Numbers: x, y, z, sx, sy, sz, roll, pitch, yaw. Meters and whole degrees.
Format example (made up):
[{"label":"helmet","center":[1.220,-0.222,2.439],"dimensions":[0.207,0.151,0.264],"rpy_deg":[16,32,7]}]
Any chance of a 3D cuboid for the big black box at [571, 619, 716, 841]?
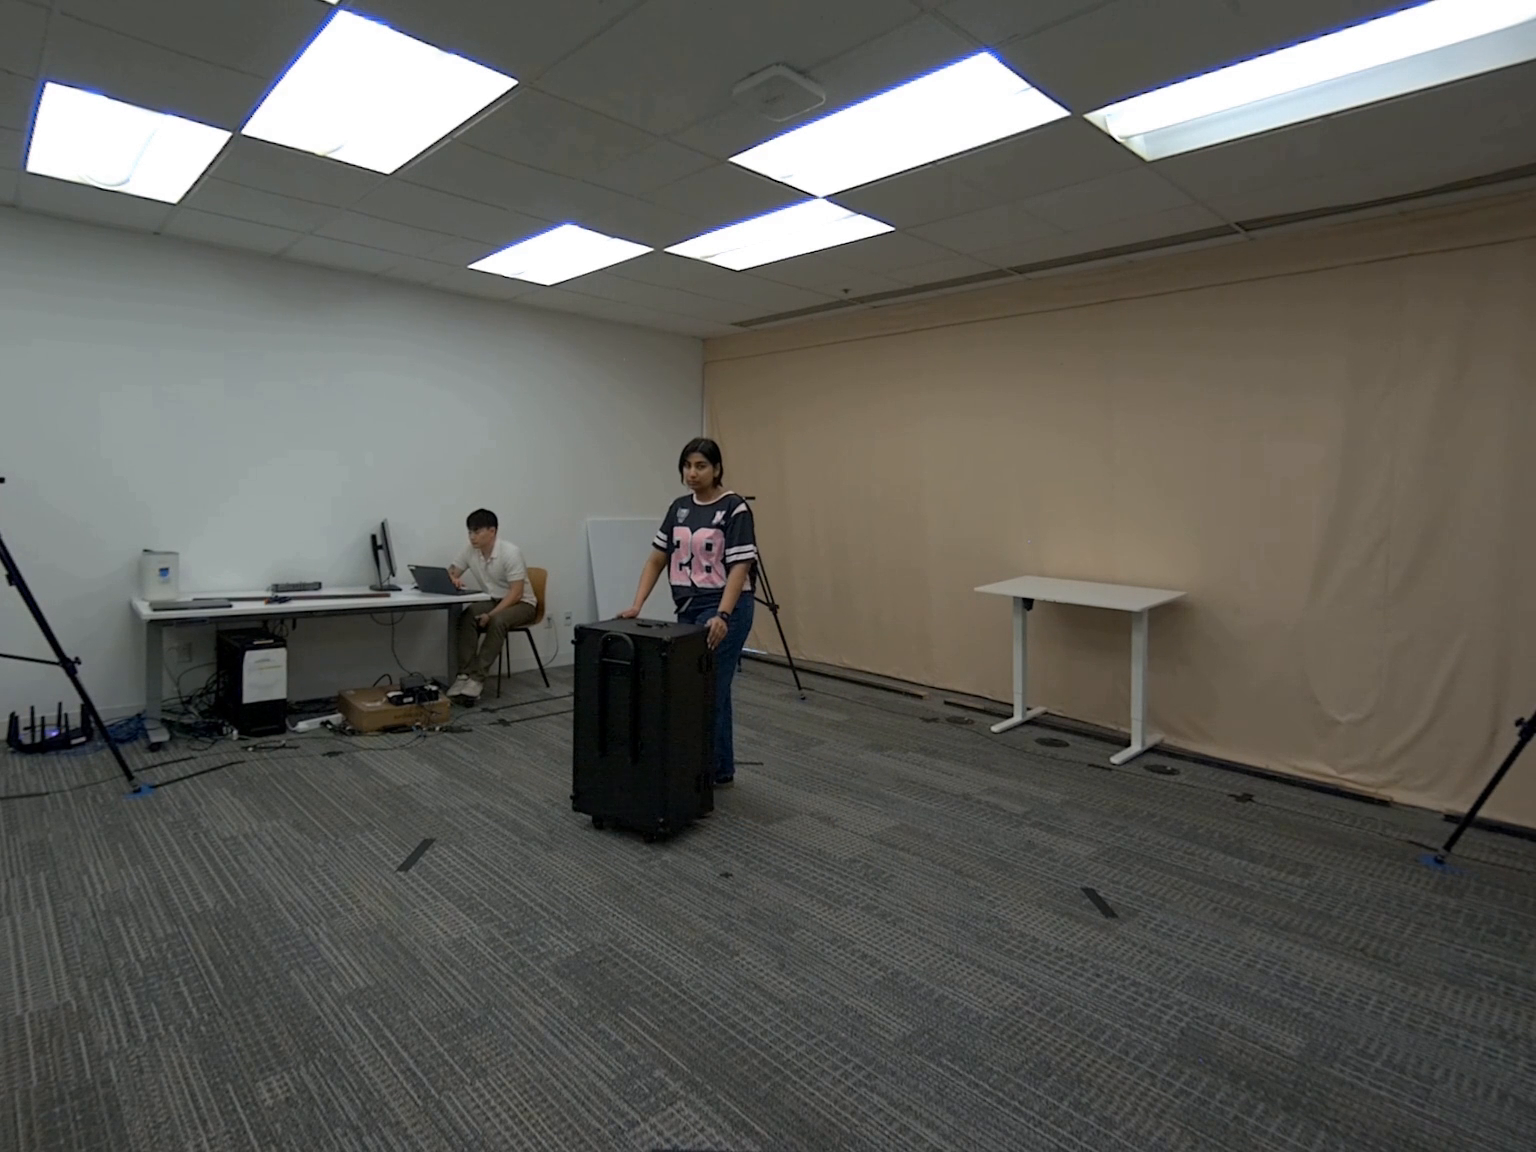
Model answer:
[{"label":"big black box","center":[-0.521,0.639,3.510],"dimensions":[0.535,0.866,0.378],"rpy_deg":[3,4,30]}]
